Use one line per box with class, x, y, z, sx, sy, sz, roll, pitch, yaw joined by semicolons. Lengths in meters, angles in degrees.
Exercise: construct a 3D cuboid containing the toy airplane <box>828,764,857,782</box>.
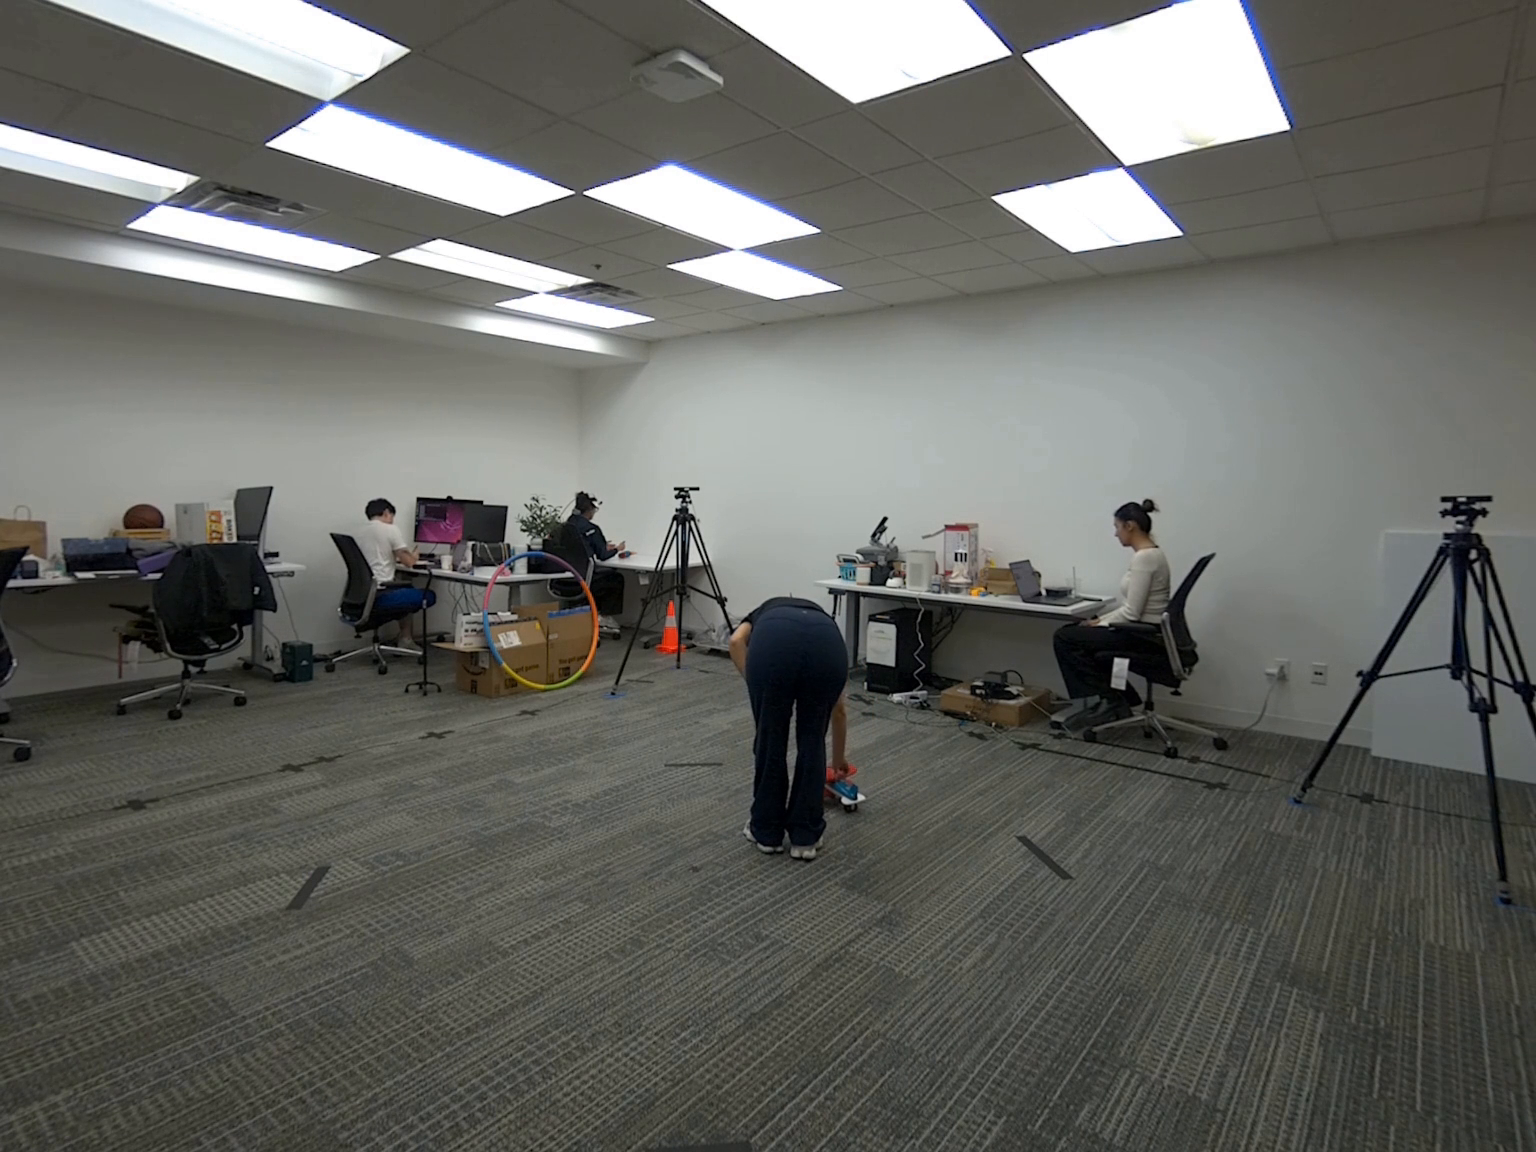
toy airplane;0.355;0.928;3.783;0.266;0.156;0.245;2;6;29
